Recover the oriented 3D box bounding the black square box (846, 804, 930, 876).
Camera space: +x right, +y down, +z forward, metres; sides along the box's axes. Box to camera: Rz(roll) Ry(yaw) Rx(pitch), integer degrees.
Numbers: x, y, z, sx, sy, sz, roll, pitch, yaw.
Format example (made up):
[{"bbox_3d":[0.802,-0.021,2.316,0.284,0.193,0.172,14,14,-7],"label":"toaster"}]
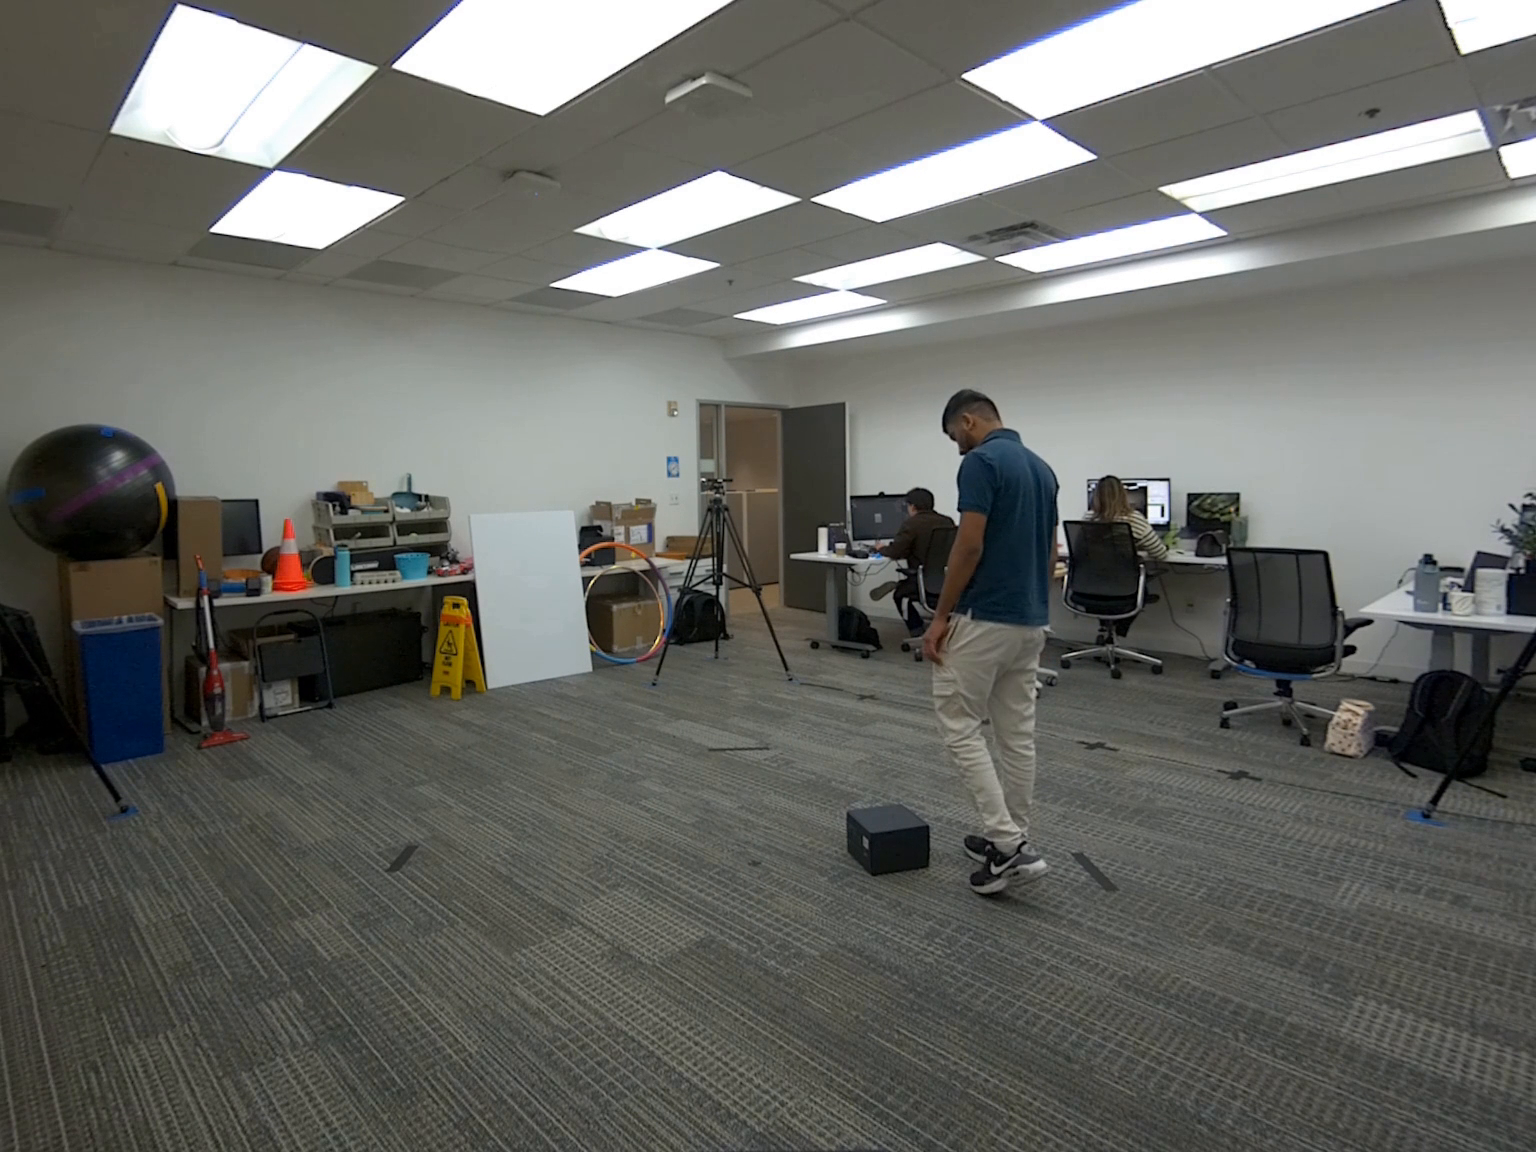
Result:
[{"bbox_3d":[0.437,0.953,3.114,0.224,0.155,0.221,-2,6,-17],"label":"black square box"}]
